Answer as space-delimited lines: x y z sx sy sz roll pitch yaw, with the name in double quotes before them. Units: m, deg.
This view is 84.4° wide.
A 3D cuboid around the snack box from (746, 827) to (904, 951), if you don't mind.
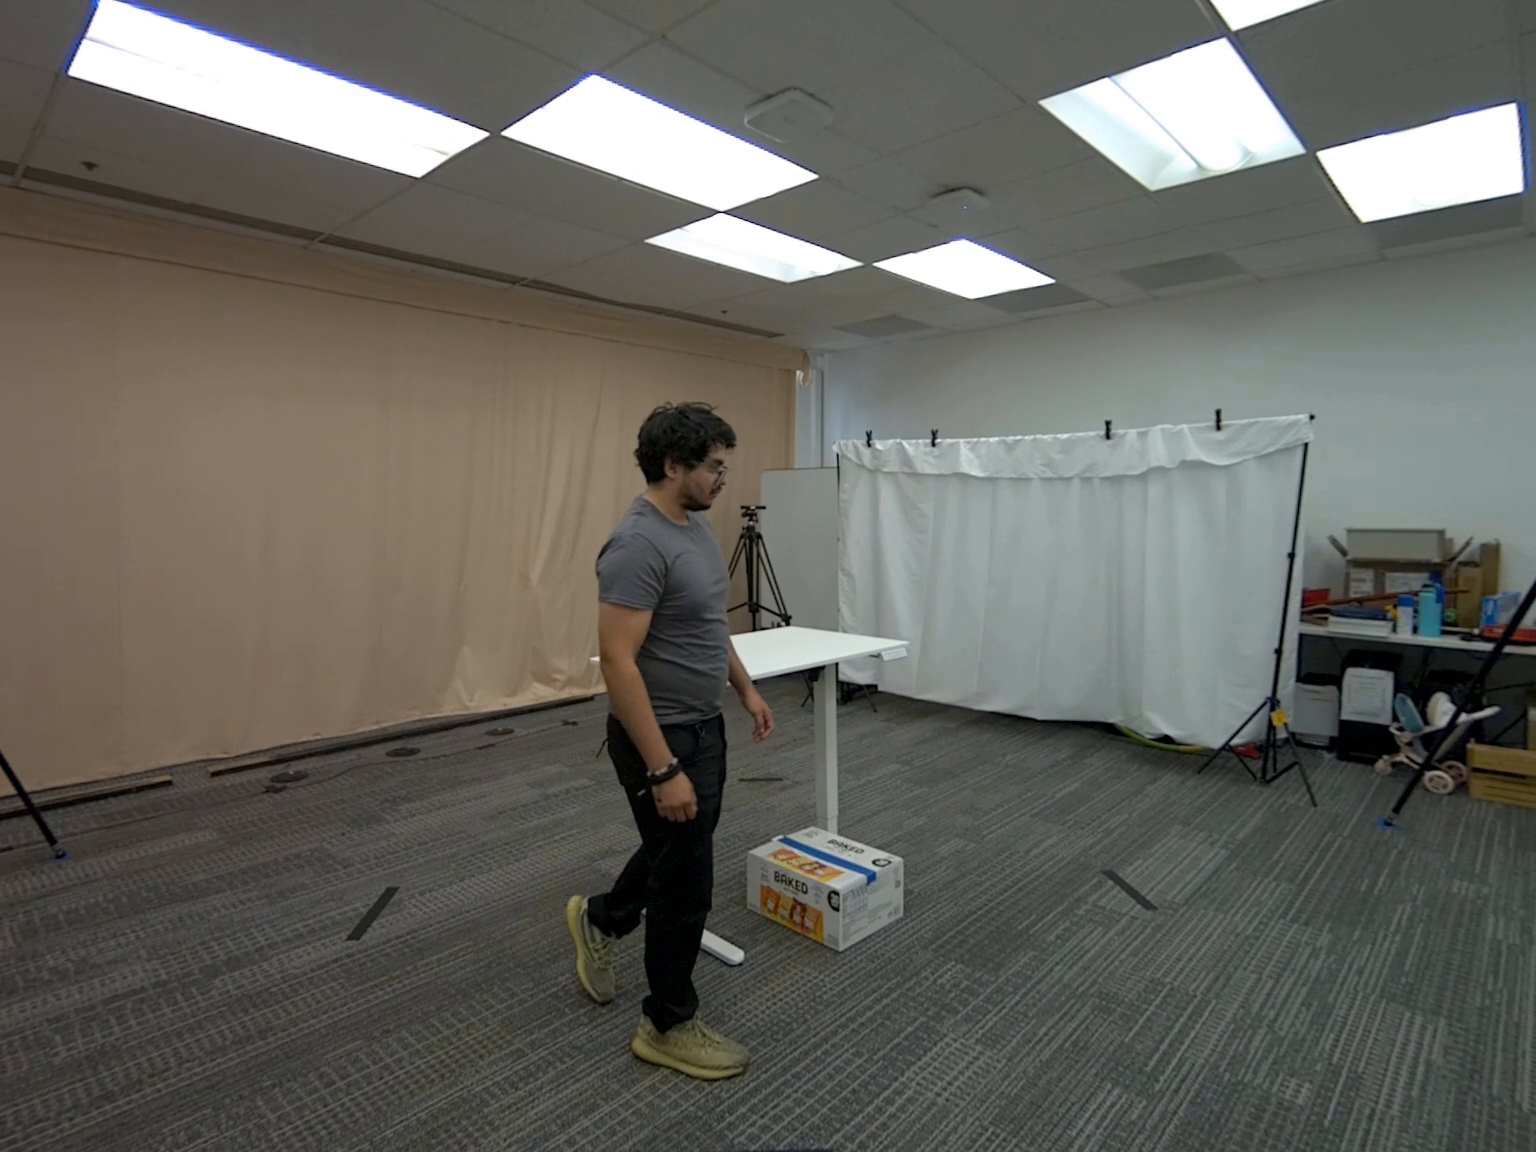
"snack box" 0.197 1.053 2.868 0.330 0.205 0.419 -5 6 -45
